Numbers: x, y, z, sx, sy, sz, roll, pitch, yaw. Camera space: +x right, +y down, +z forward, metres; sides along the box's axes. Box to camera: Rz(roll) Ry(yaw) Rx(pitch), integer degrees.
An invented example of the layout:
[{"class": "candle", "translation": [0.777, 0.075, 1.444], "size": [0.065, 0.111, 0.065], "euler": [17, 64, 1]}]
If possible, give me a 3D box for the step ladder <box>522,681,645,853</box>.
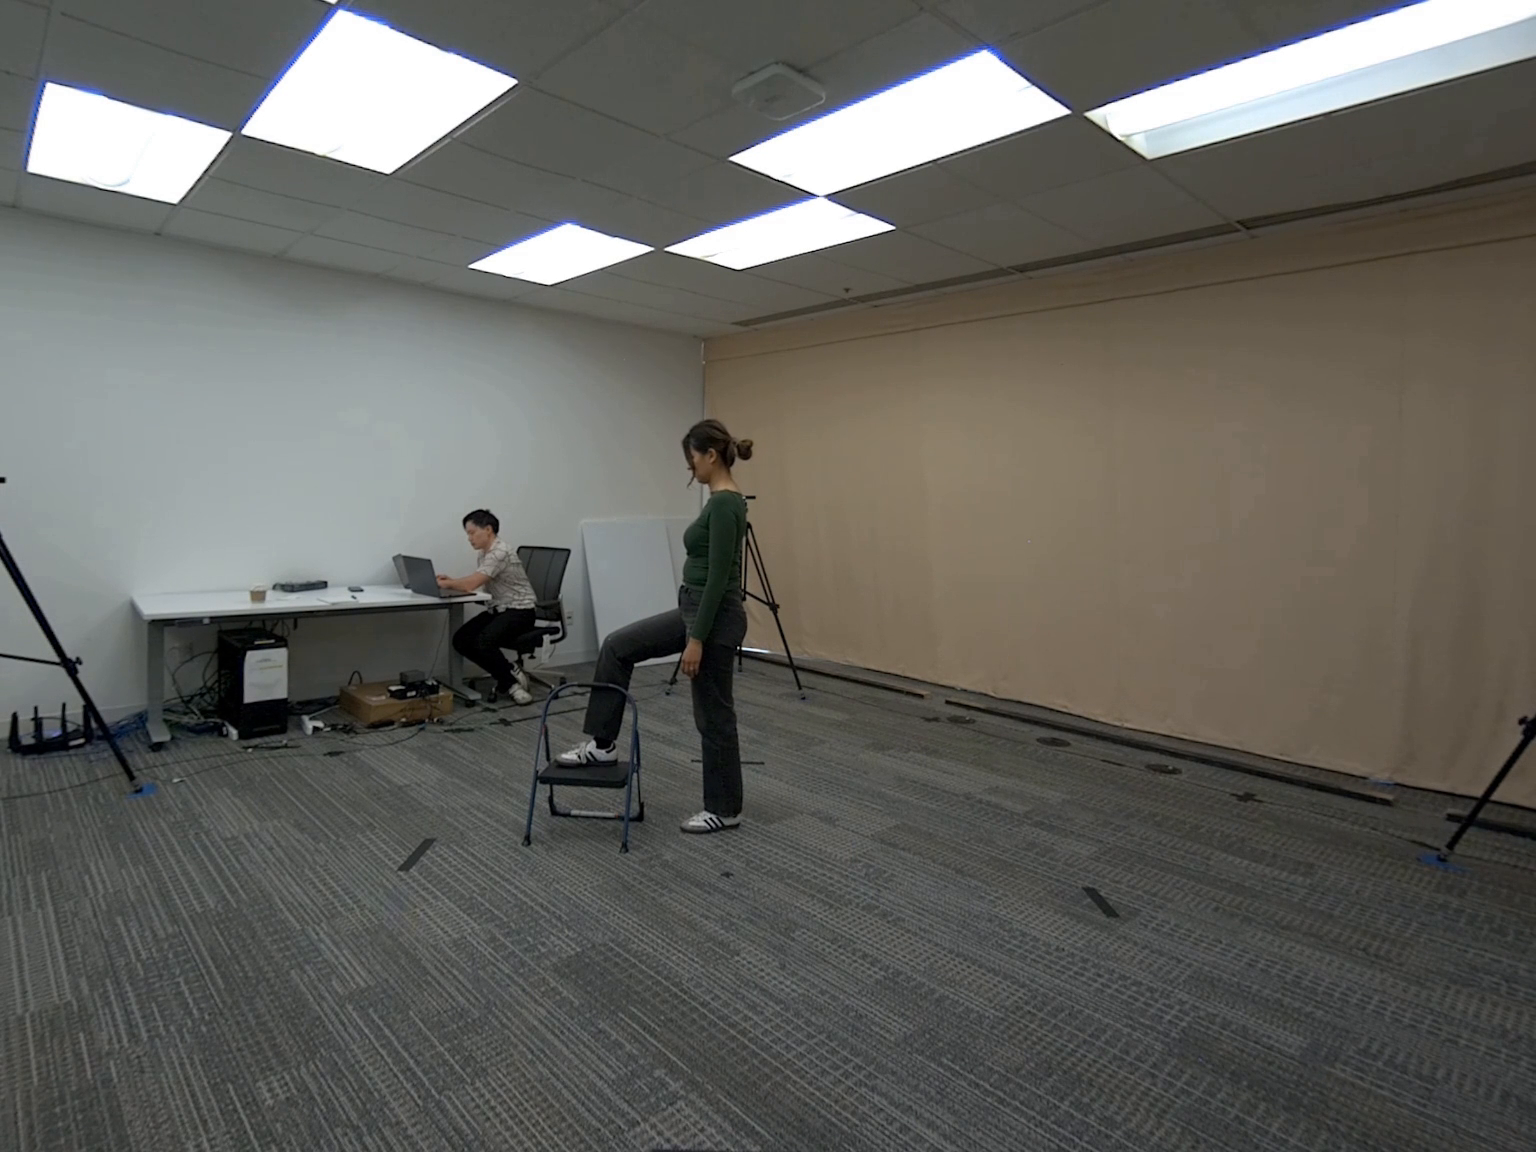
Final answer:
[{"class": "step ladder", "translation": [-0.749, 0.761, 3.447], "size": [0.433, 0.604, 0.349], "euler": [1, 5, 5]}]
